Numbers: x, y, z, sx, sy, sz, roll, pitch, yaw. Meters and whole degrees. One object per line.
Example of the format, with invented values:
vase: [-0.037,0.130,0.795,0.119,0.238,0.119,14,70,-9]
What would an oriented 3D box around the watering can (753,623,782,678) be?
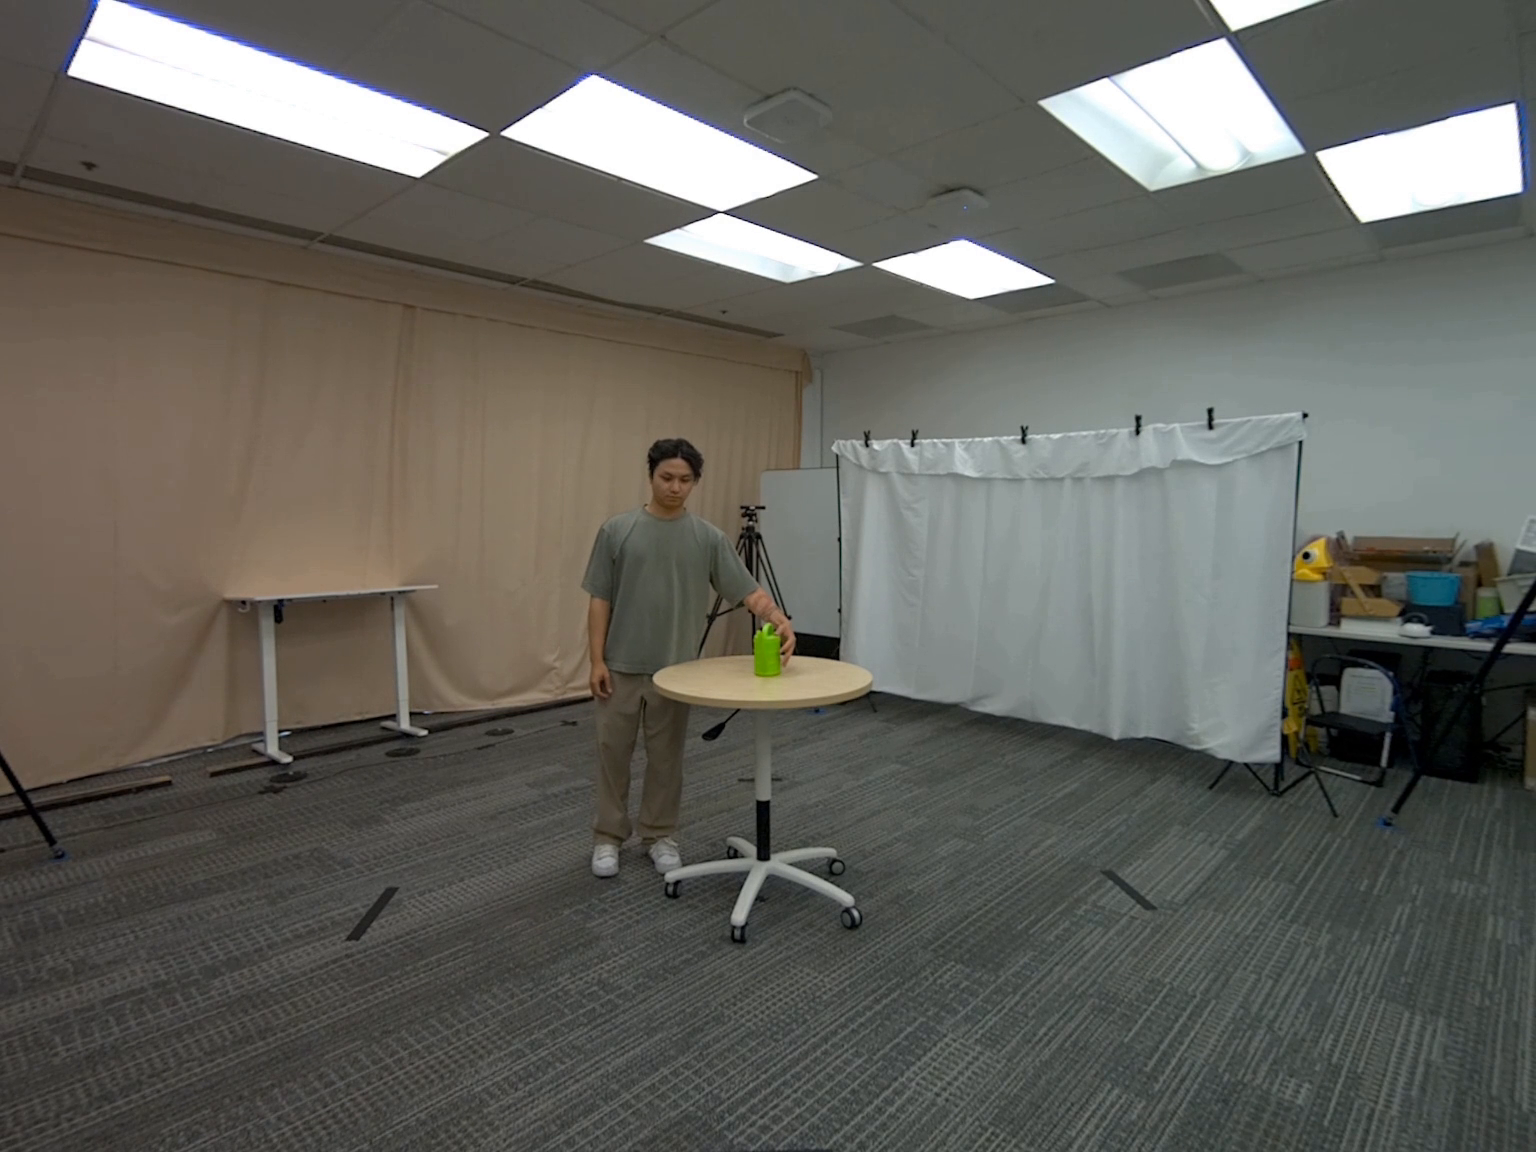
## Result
watering can: [-0.022,0.266,2.939,0.101,0.176,0.271,0,3,30]
